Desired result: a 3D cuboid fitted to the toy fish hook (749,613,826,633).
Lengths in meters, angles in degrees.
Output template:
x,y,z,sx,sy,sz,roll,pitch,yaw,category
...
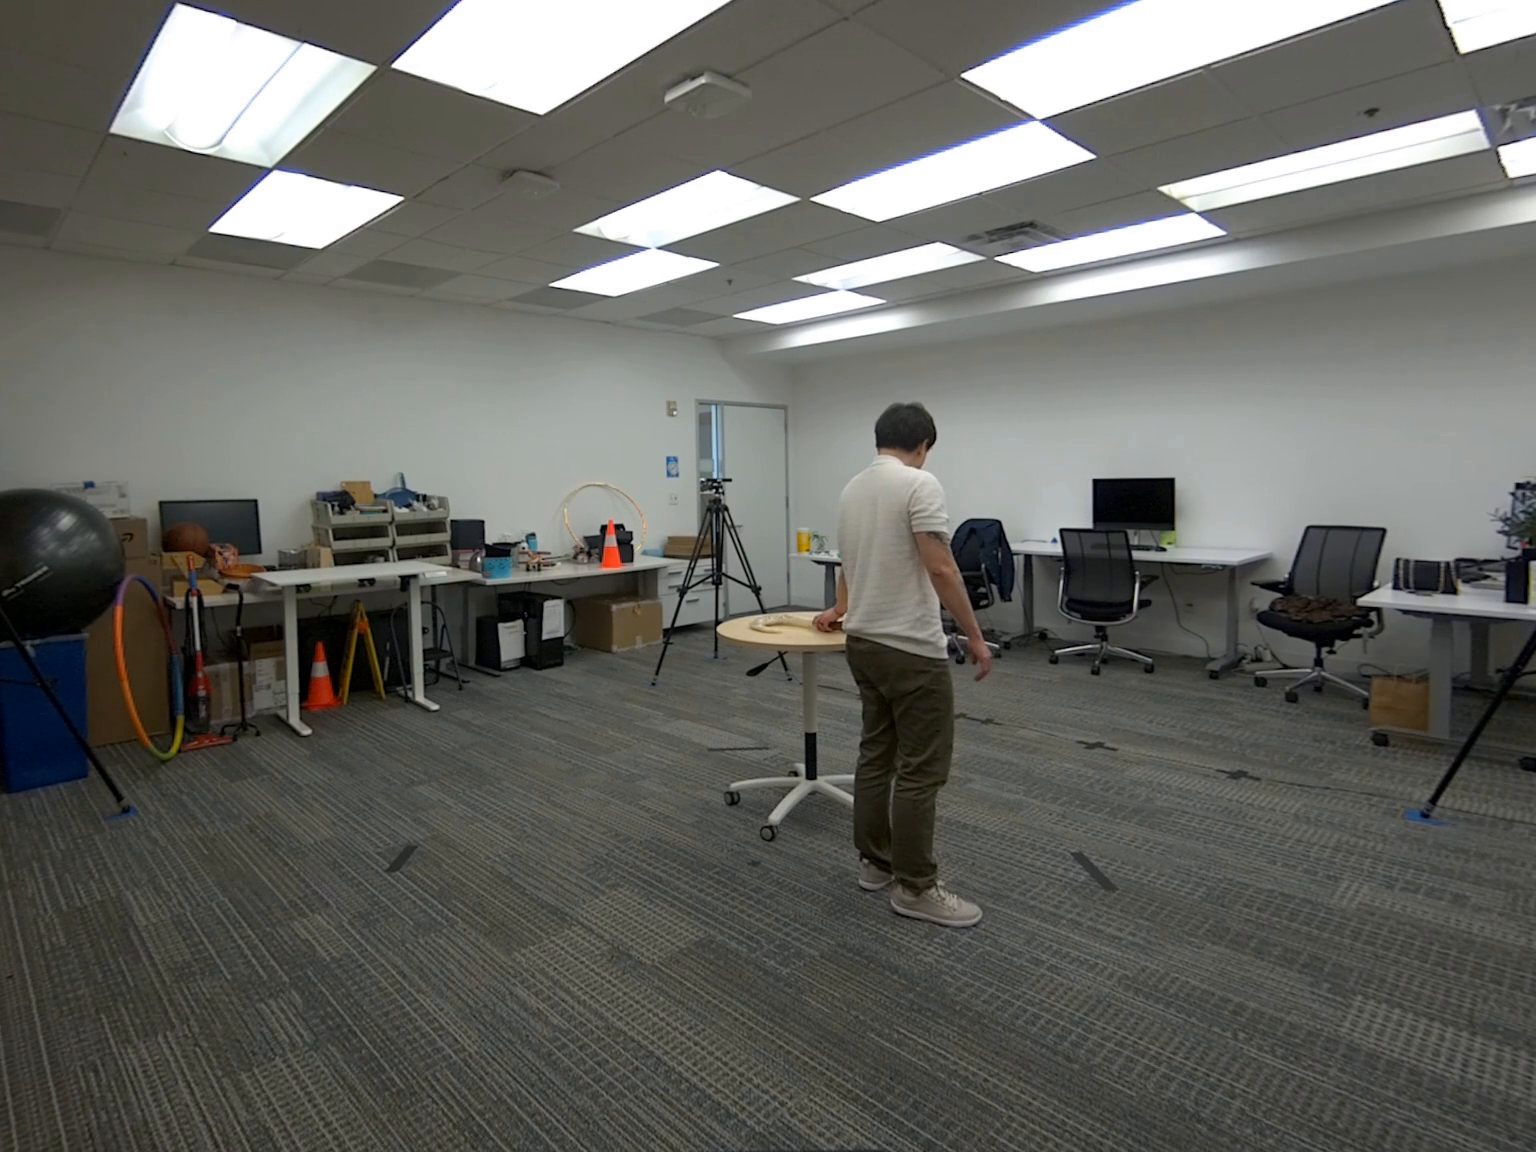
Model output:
x,y,z,sx,sy,sz,roll,pitch,yaw,category
0.154,0.206,3.438,0.521,0.048,0.220,2,14,36,toy fish hook
